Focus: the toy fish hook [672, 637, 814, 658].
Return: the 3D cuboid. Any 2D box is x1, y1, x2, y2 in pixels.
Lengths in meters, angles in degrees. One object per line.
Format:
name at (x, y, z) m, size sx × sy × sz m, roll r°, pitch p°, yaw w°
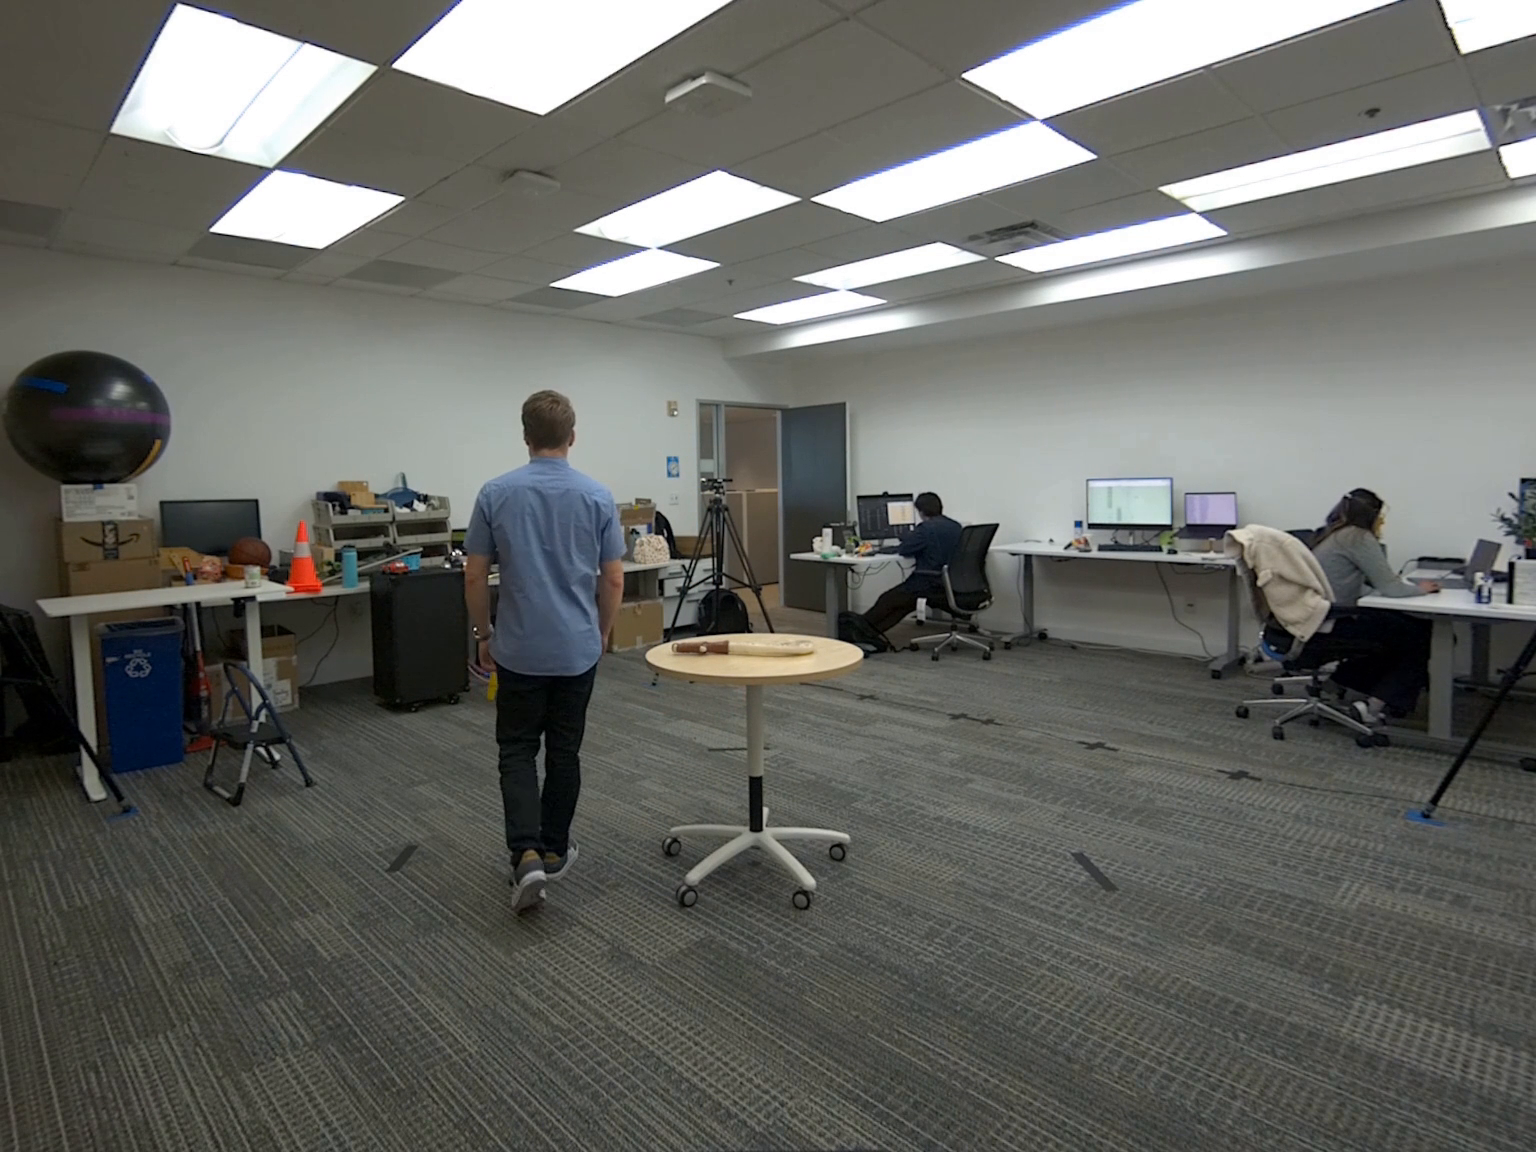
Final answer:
toy fish hook at (-0.087, 0.253, 3.041) m, size 0.508 × 0.048 × 0.224 m, roll 1°, pitch 0°, yaw 2°
